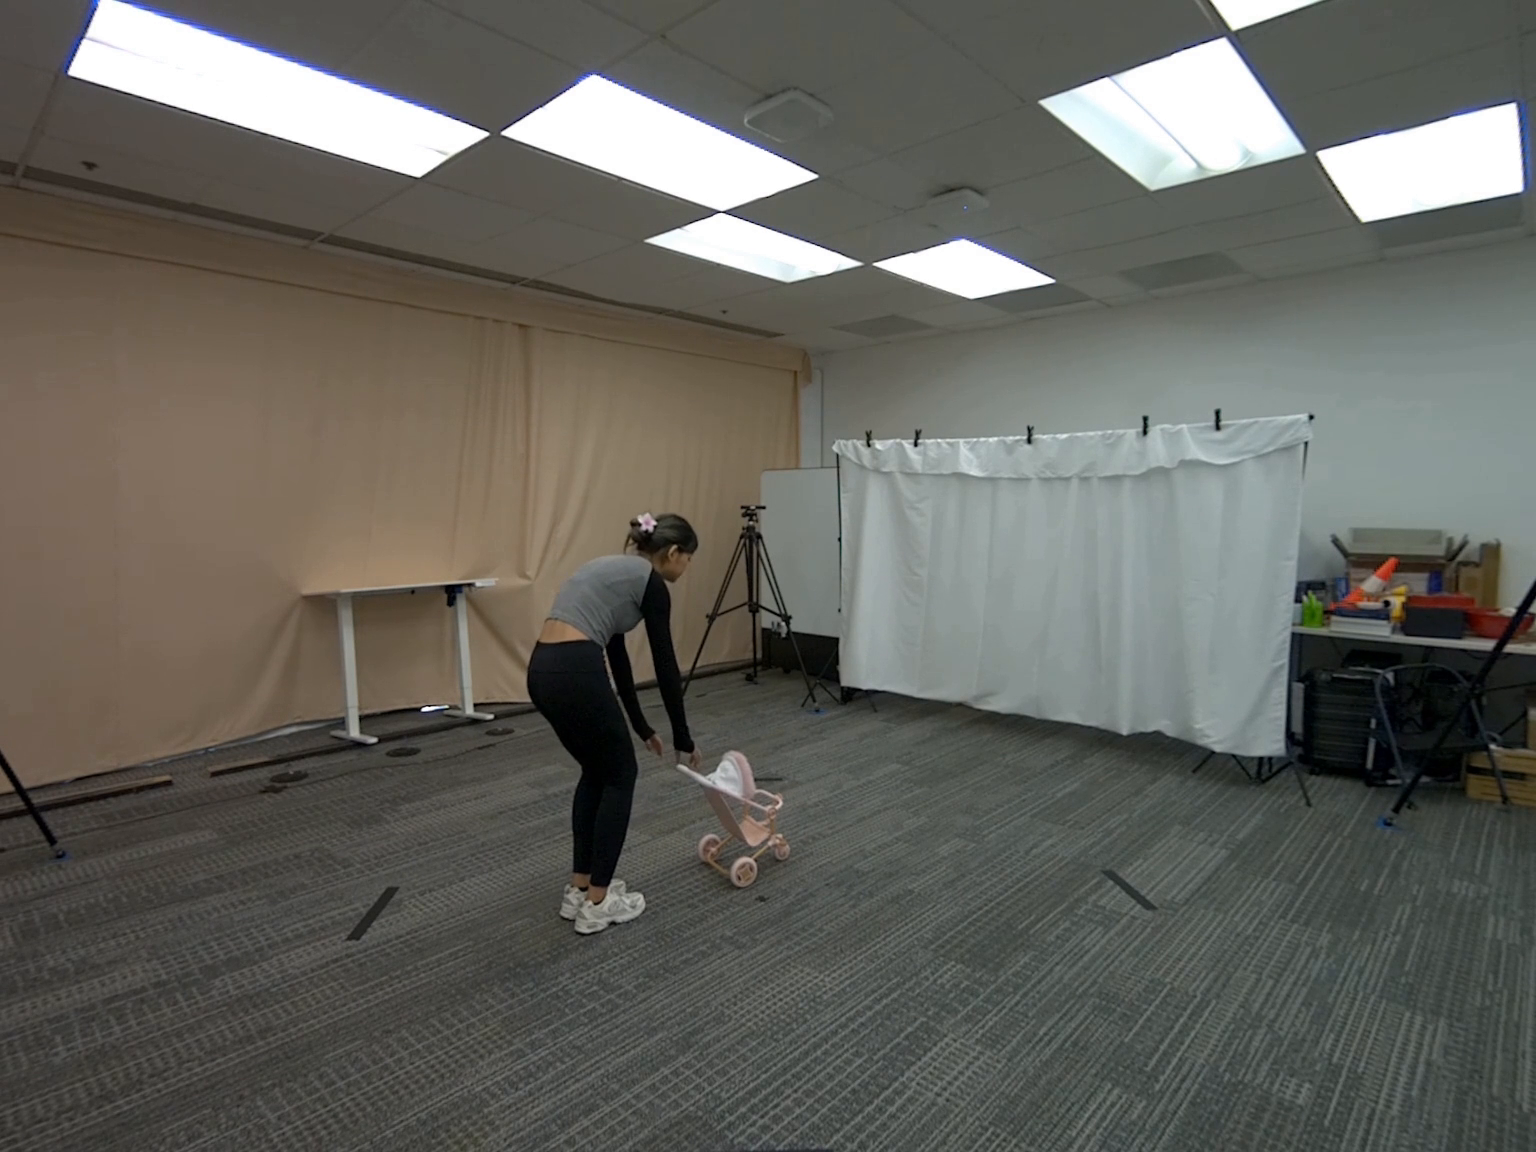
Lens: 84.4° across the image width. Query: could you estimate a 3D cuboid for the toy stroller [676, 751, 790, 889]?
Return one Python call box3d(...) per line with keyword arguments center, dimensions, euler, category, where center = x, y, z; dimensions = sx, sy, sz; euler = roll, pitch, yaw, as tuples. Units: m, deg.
box3d(center=(-0.109, 0.900, 3.202), dimensions=(0.335, 0.530, 0.289), euler=(-21, 12, -26), category="toy stroller")
